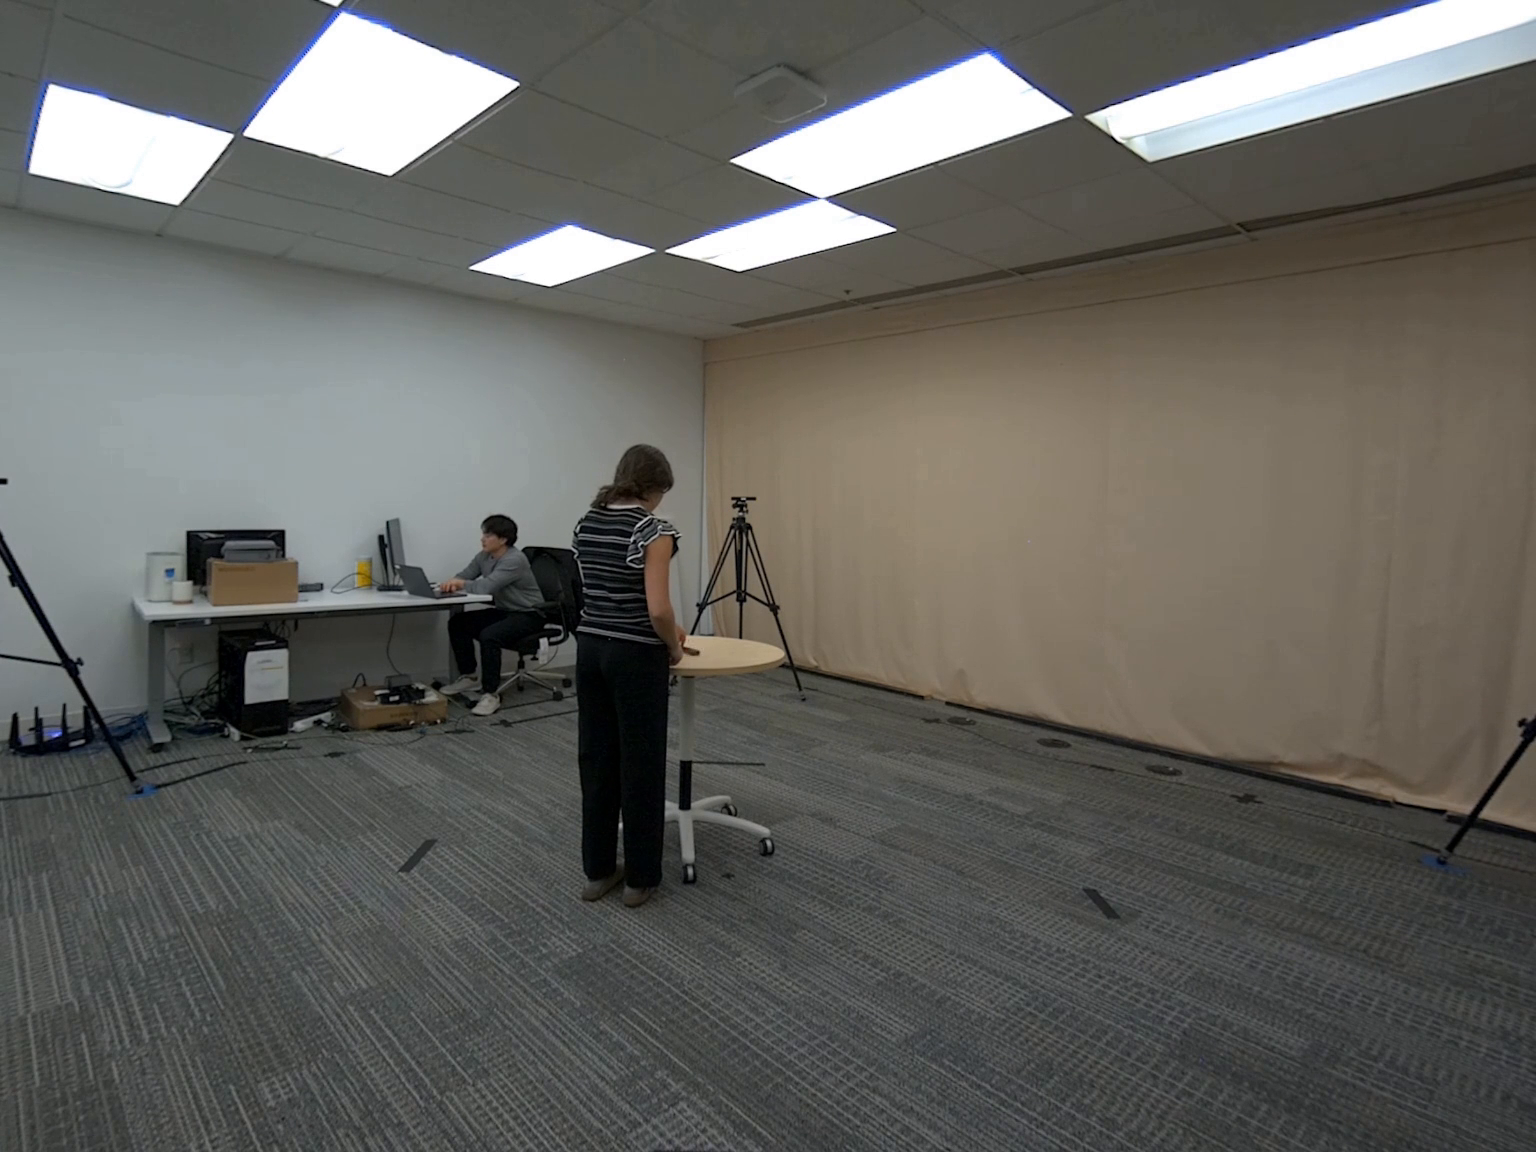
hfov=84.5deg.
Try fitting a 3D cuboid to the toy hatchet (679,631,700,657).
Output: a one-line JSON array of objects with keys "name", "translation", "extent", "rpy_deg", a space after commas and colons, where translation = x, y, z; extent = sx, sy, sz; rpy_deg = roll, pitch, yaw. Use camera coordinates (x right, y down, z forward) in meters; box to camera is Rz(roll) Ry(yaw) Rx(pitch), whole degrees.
[{"name": "toy hatchet", "translation": [-0.396, 0.287, 3.317], "extent": [0.128, 0.029, 0.277], "rpy_deg": [0, 5, -39]}]
